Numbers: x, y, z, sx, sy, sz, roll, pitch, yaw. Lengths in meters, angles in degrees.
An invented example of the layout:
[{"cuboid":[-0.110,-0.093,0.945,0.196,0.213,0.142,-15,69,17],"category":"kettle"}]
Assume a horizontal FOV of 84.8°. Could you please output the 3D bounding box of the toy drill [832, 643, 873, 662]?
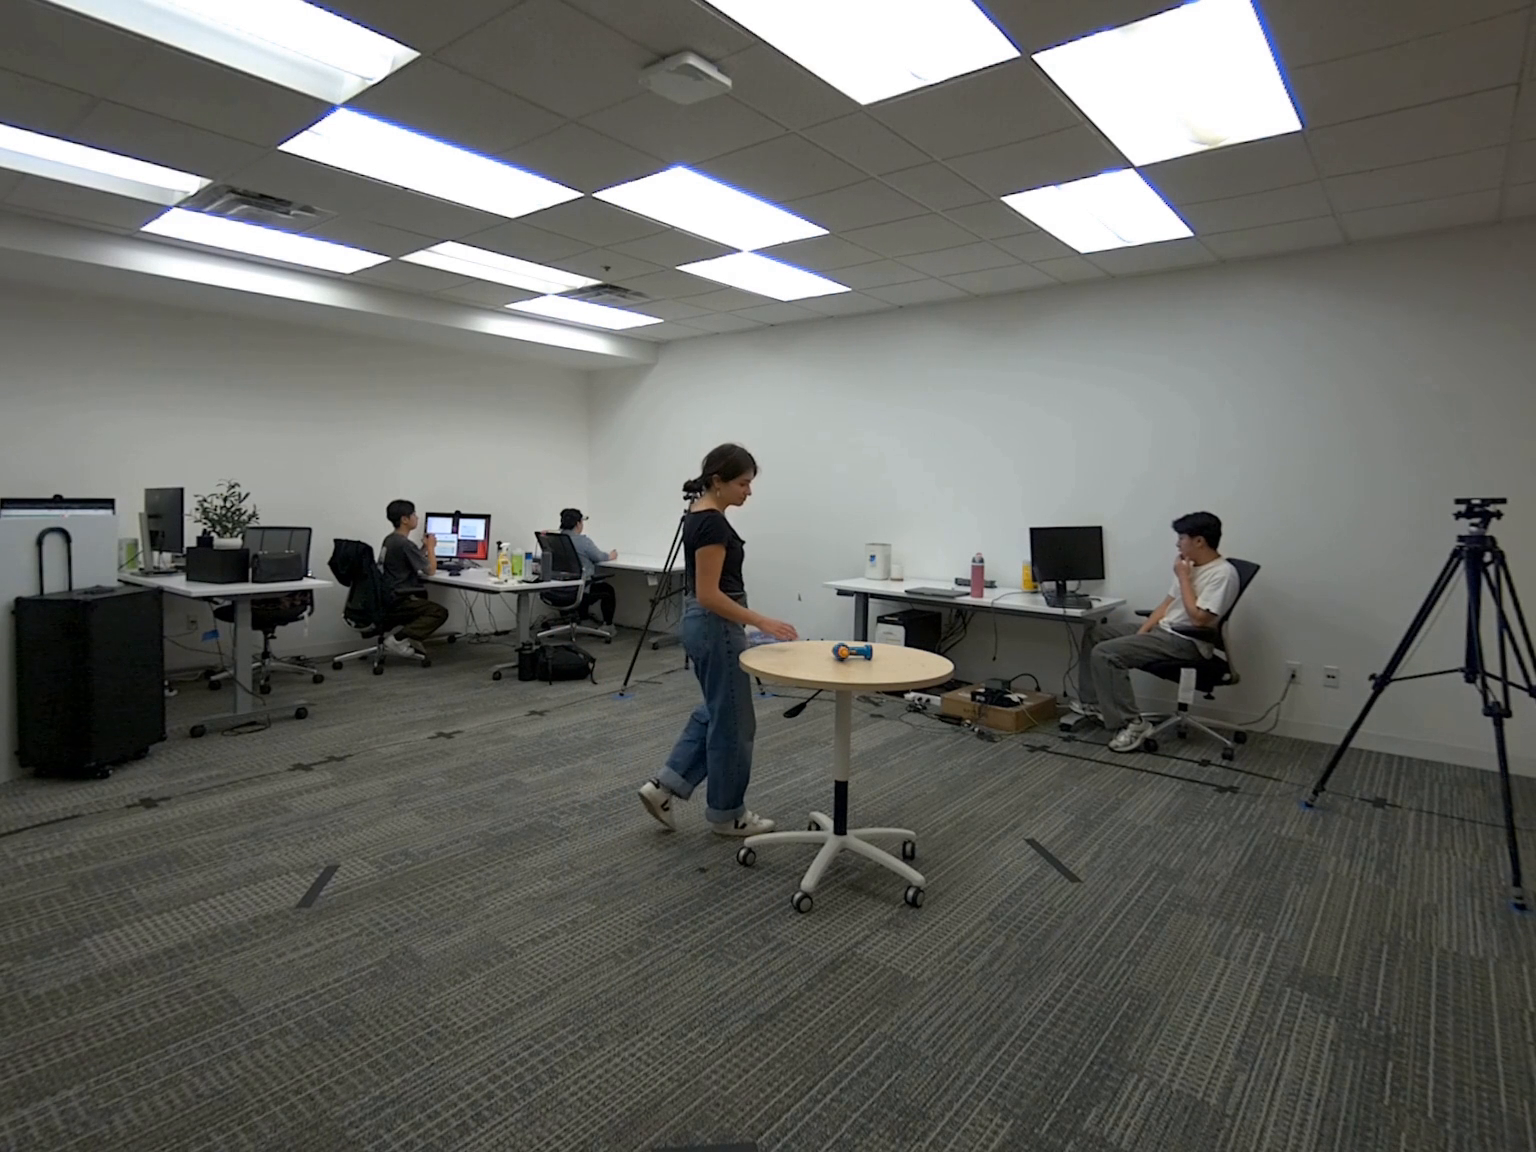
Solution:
[{"cuboid":[0.311,0.264,3.060,0.145,0.061,0.169,2,-4,-4],"category":"toy drill"}]
